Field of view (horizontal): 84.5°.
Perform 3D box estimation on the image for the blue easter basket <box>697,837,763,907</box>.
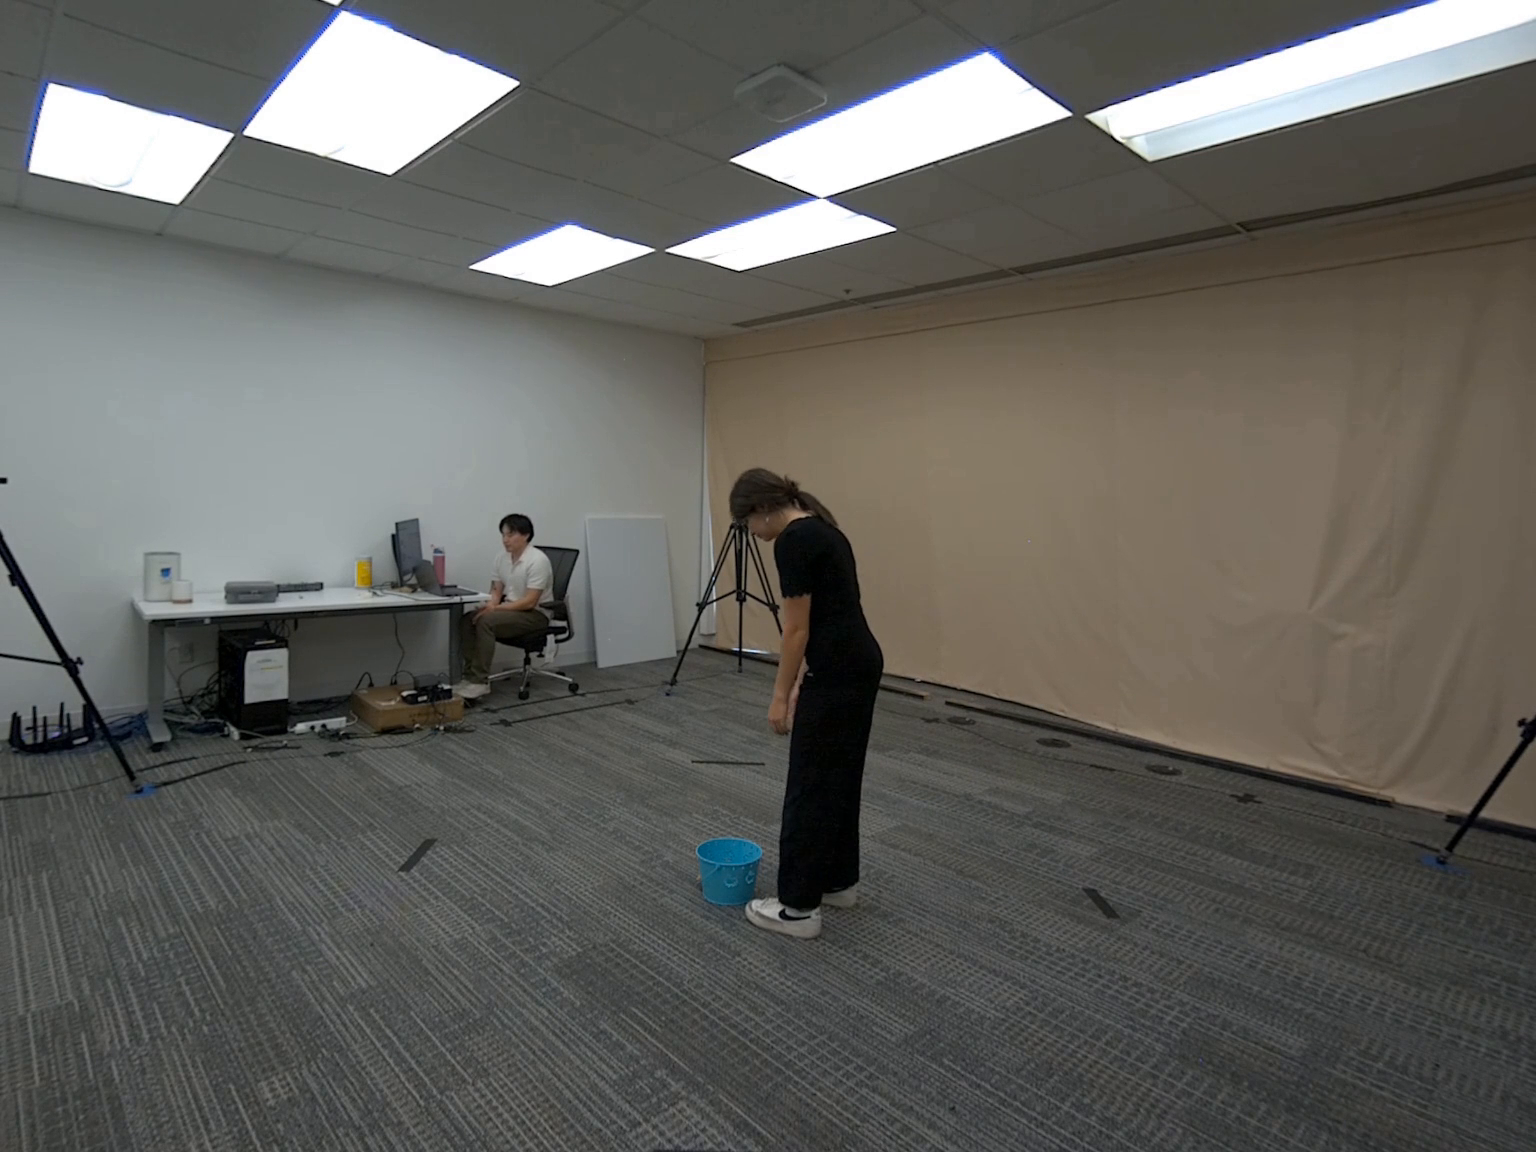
[{"bbox_3d":[-0.144,1.037,2.970,0.243,0.155,0.244,1,5,-1],"label":"blue easter basket"}]
